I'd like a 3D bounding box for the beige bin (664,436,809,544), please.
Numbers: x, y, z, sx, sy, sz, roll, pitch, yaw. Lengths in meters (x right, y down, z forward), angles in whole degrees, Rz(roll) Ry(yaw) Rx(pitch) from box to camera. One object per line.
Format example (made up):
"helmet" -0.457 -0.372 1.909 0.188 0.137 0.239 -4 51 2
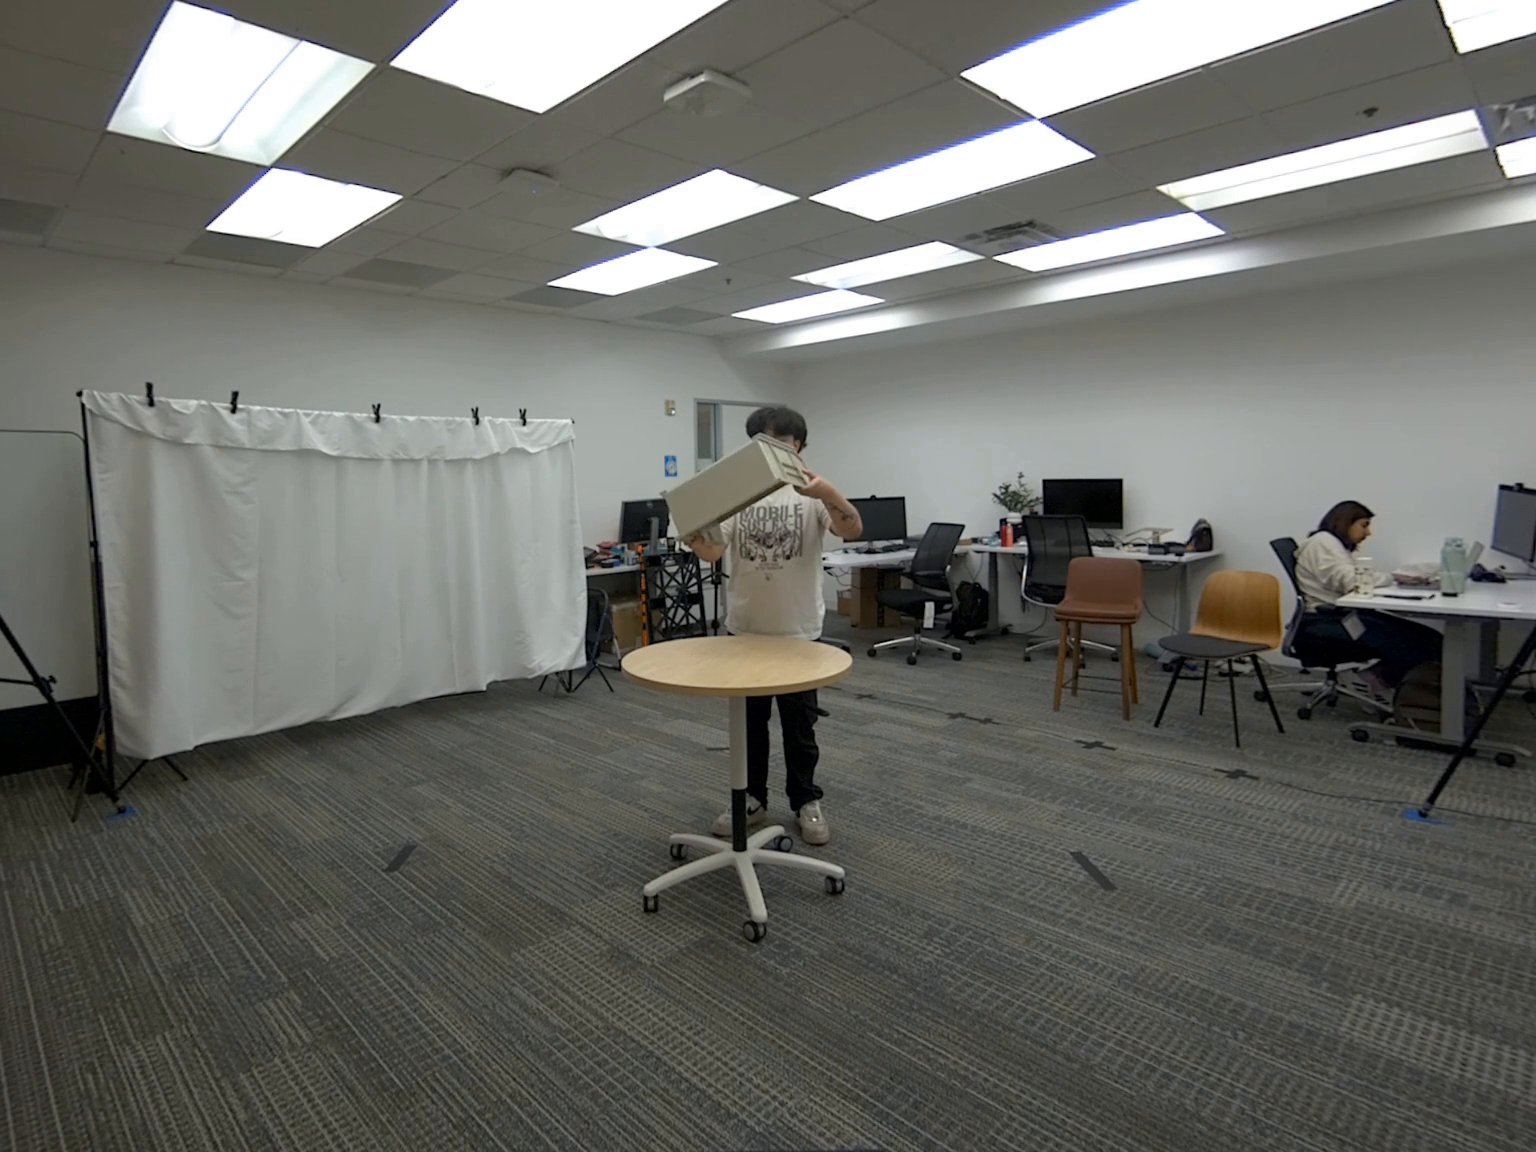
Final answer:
"beige bin" -0.088 -0.279 2.939 0.426 0.192 0.368 -28 -14 21
